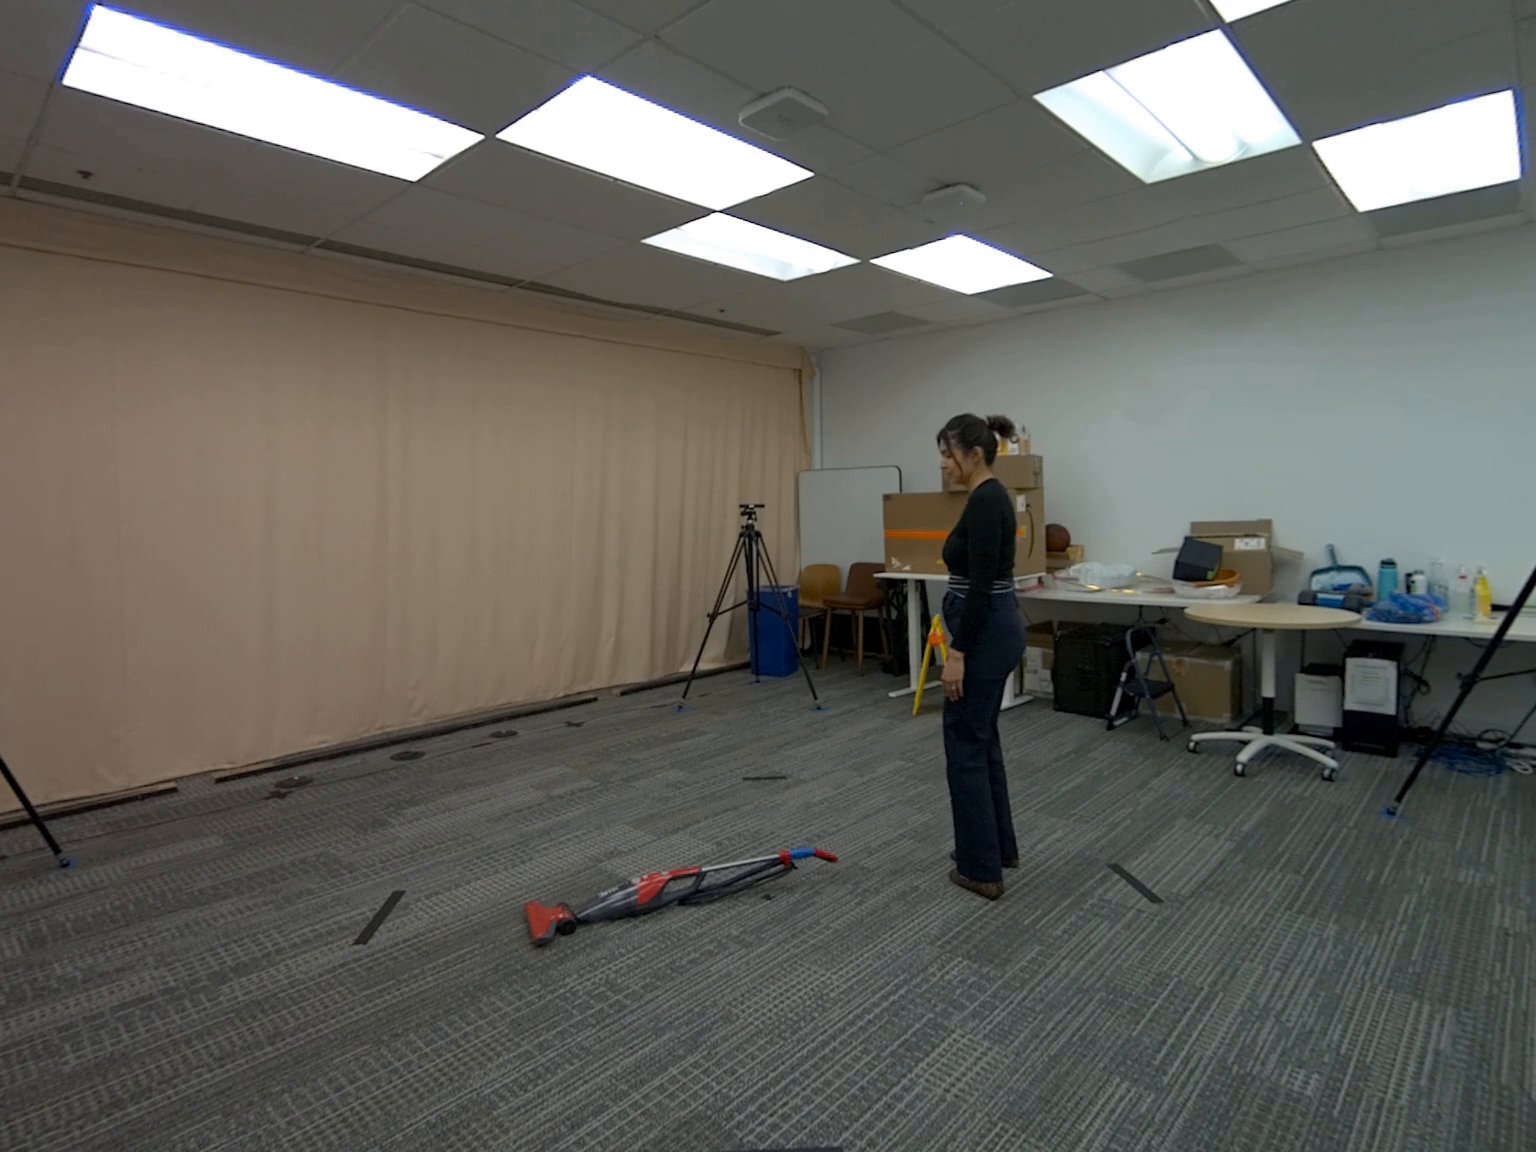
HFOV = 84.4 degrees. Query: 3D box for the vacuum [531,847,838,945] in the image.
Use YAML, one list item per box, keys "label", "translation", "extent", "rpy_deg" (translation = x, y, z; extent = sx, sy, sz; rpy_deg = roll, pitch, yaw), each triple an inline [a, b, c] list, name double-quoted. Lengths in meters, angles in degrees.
- label: "vacuum"
  translation: [-0.247, 1.088, 2.961]
  extent: [1.030, 0.143, 0.258]
  rpy_deg: [-5, 8, -19]
